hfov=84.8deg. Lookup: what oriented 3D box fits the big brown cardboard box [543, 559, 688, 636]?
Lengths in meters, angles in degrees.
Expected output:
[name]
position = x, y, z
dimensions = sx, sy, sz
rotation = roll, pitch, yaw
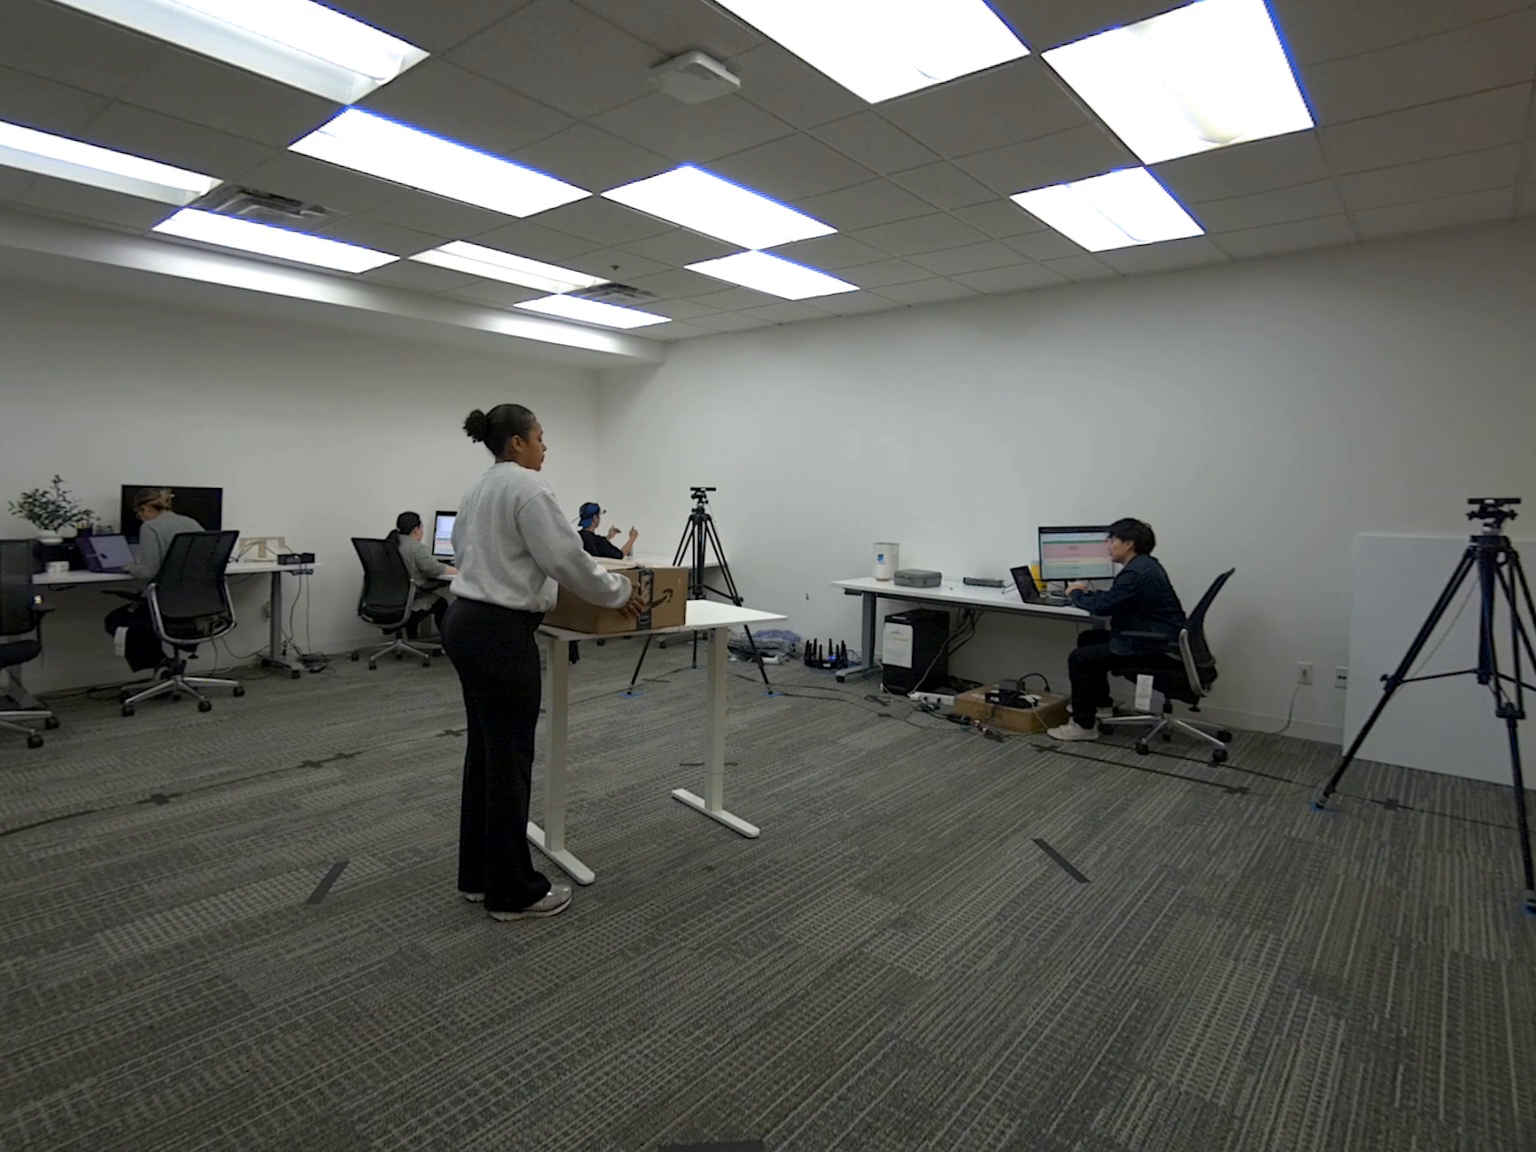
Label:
[big brown cardboard box]
position = -0.651, 0.059, 3.169
dimensions = 0.609, 0.232, 0.405
rotation = 5, 6, 42
